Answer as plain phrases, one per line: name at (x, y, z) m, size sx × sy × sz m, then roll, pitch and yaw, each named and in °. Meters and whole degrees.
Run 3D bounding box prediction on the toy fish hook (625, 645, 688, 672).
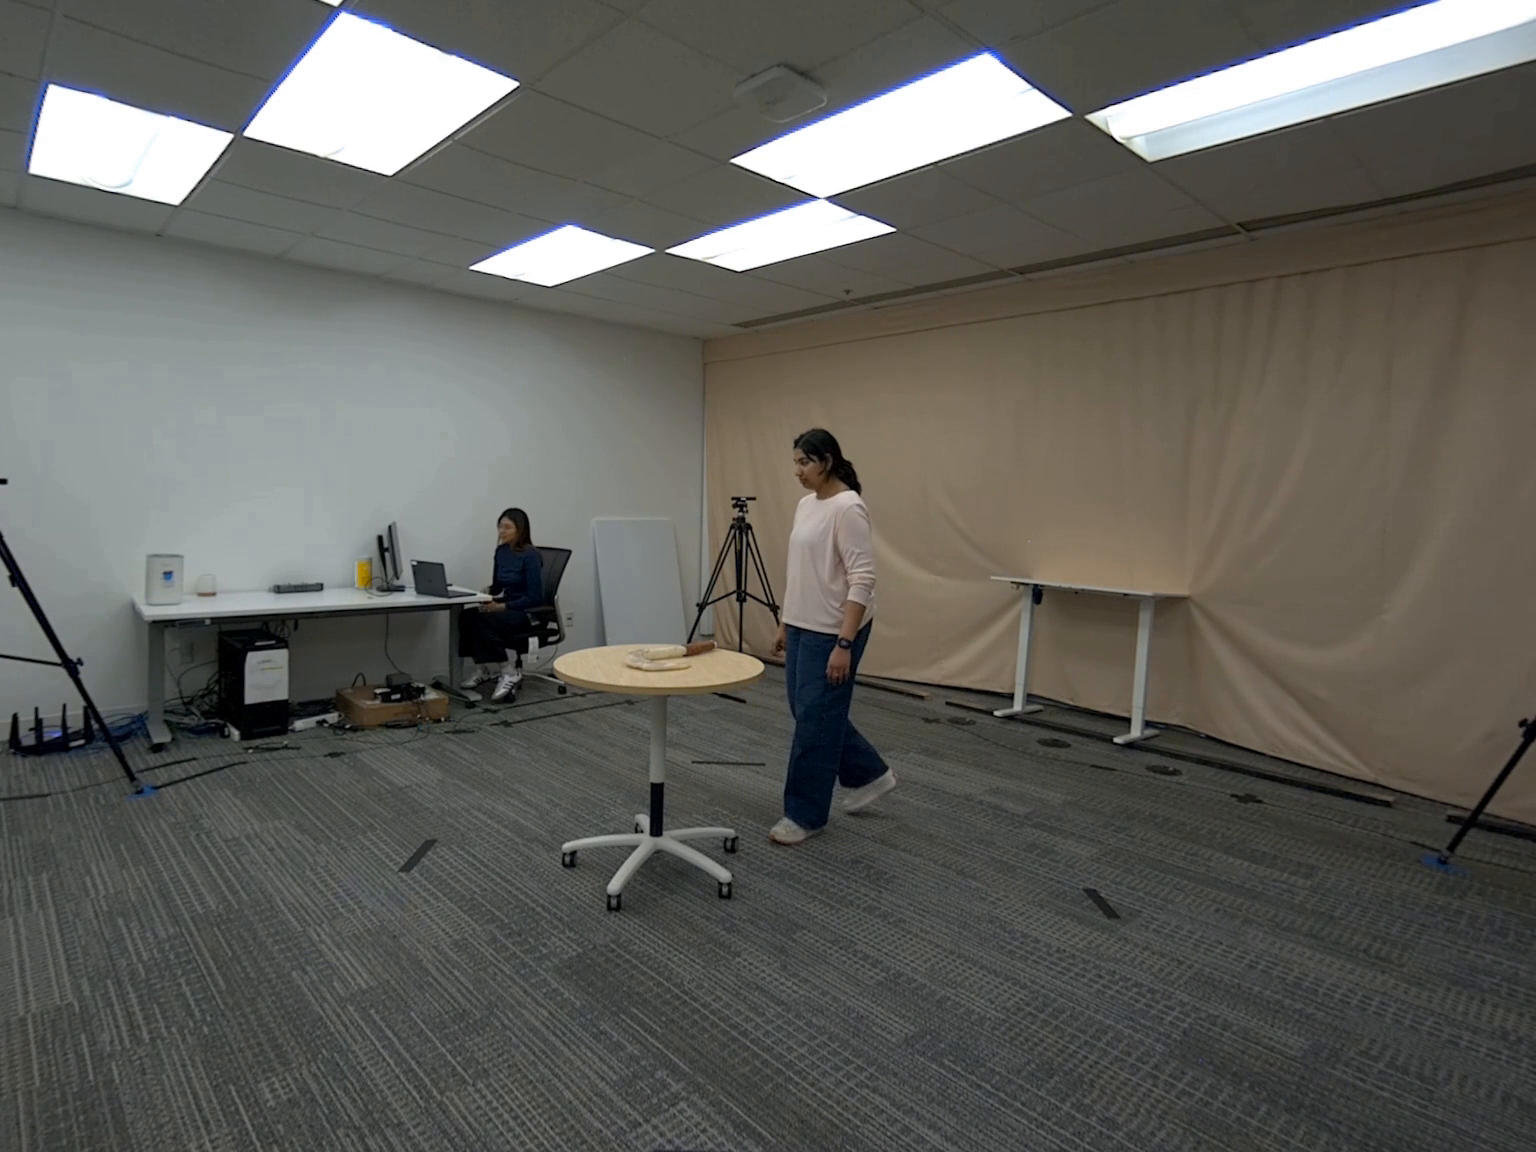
toy fish hook at (-0.329, 0.304, 3.140) m, size 0.231 × 0.048 × 0.496 m, roll 16°, pitch 14°, yaw 35°
